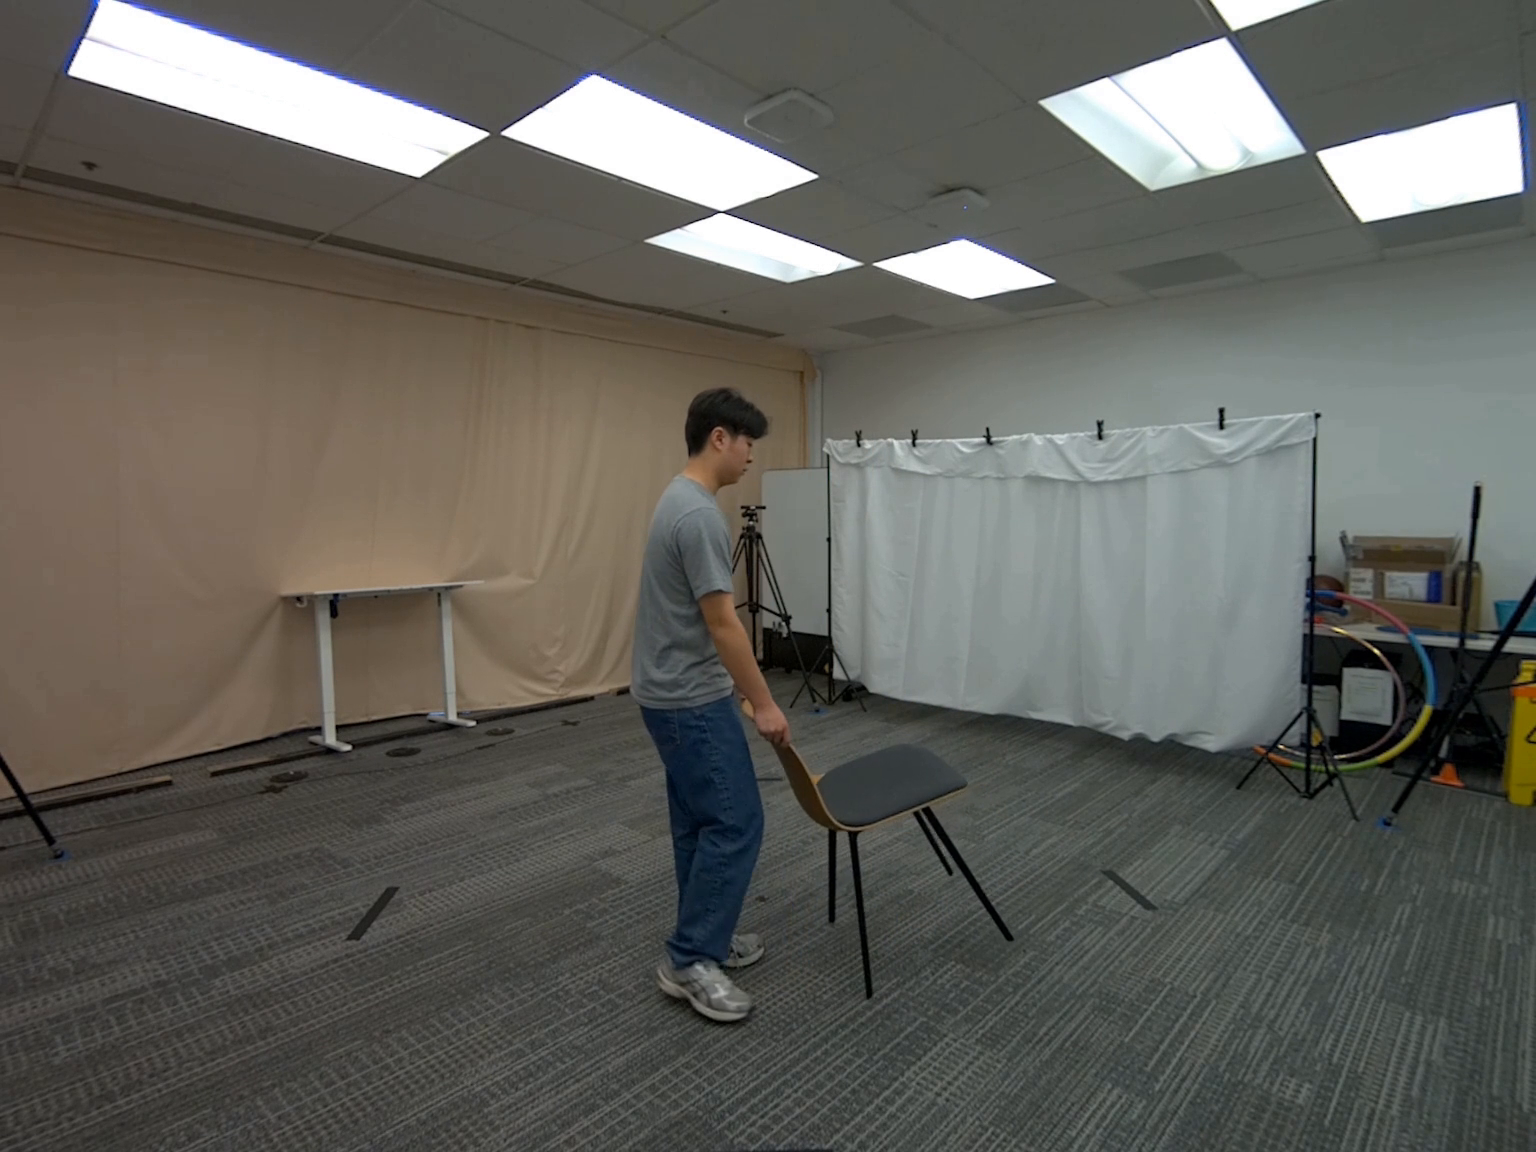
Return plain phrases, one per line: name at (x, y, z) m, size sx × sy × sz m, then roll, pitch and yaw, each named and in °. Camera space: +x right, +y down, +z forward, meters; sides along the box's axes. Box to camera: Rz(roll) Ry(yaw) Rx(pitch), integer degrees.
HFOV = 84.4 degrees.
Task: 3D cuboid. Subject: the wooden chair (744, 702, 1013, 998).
wooden chair at (0.334, 0.696, 2.581) m, size 0.520 × 0.873 × 0.483 m, roll -24°, pitch 6°, yaw -7°
